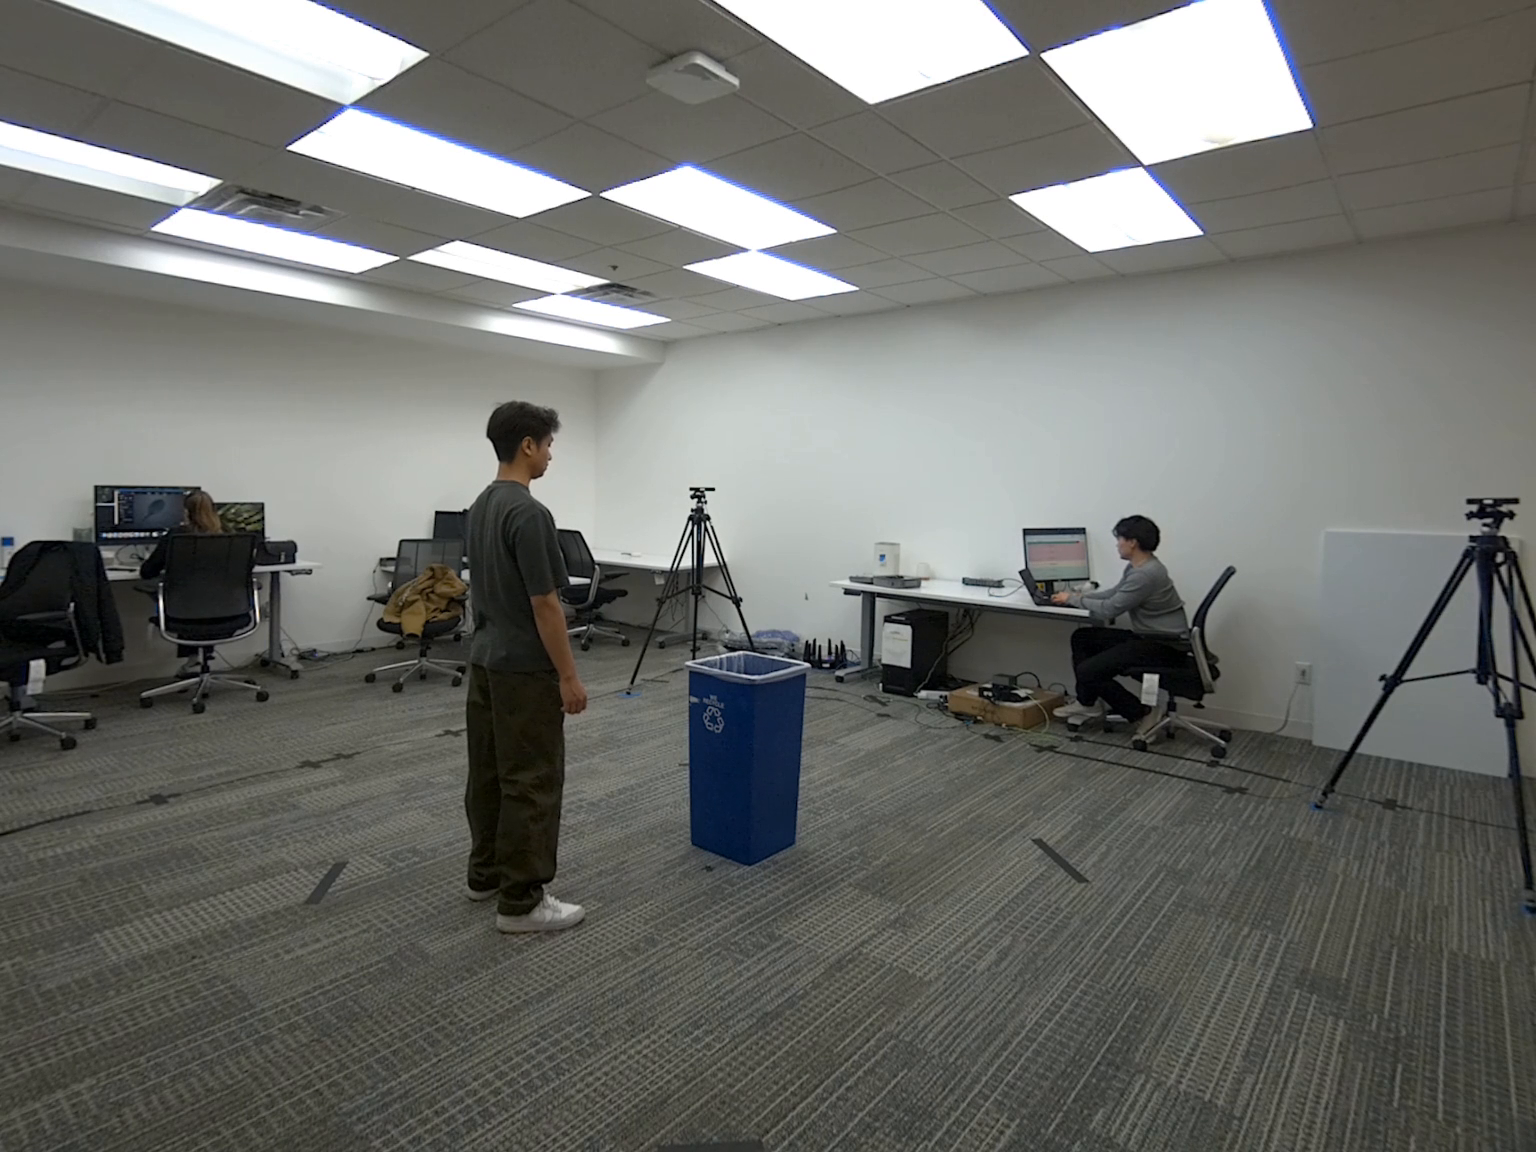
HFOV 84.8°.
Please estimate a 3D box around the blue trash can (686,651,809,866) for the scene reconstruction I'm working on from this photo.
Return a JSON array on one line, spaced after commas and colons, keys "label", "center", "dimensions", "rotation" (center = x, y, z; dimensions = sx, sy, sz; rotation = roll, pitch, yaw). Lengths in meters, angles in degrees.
[{"label": "blue trash can", "center": [-0.090, 0.690, 3.319], "dimensions": [0.386, 0.712, 0.367], "rotation": [3, 4, 38]}]
